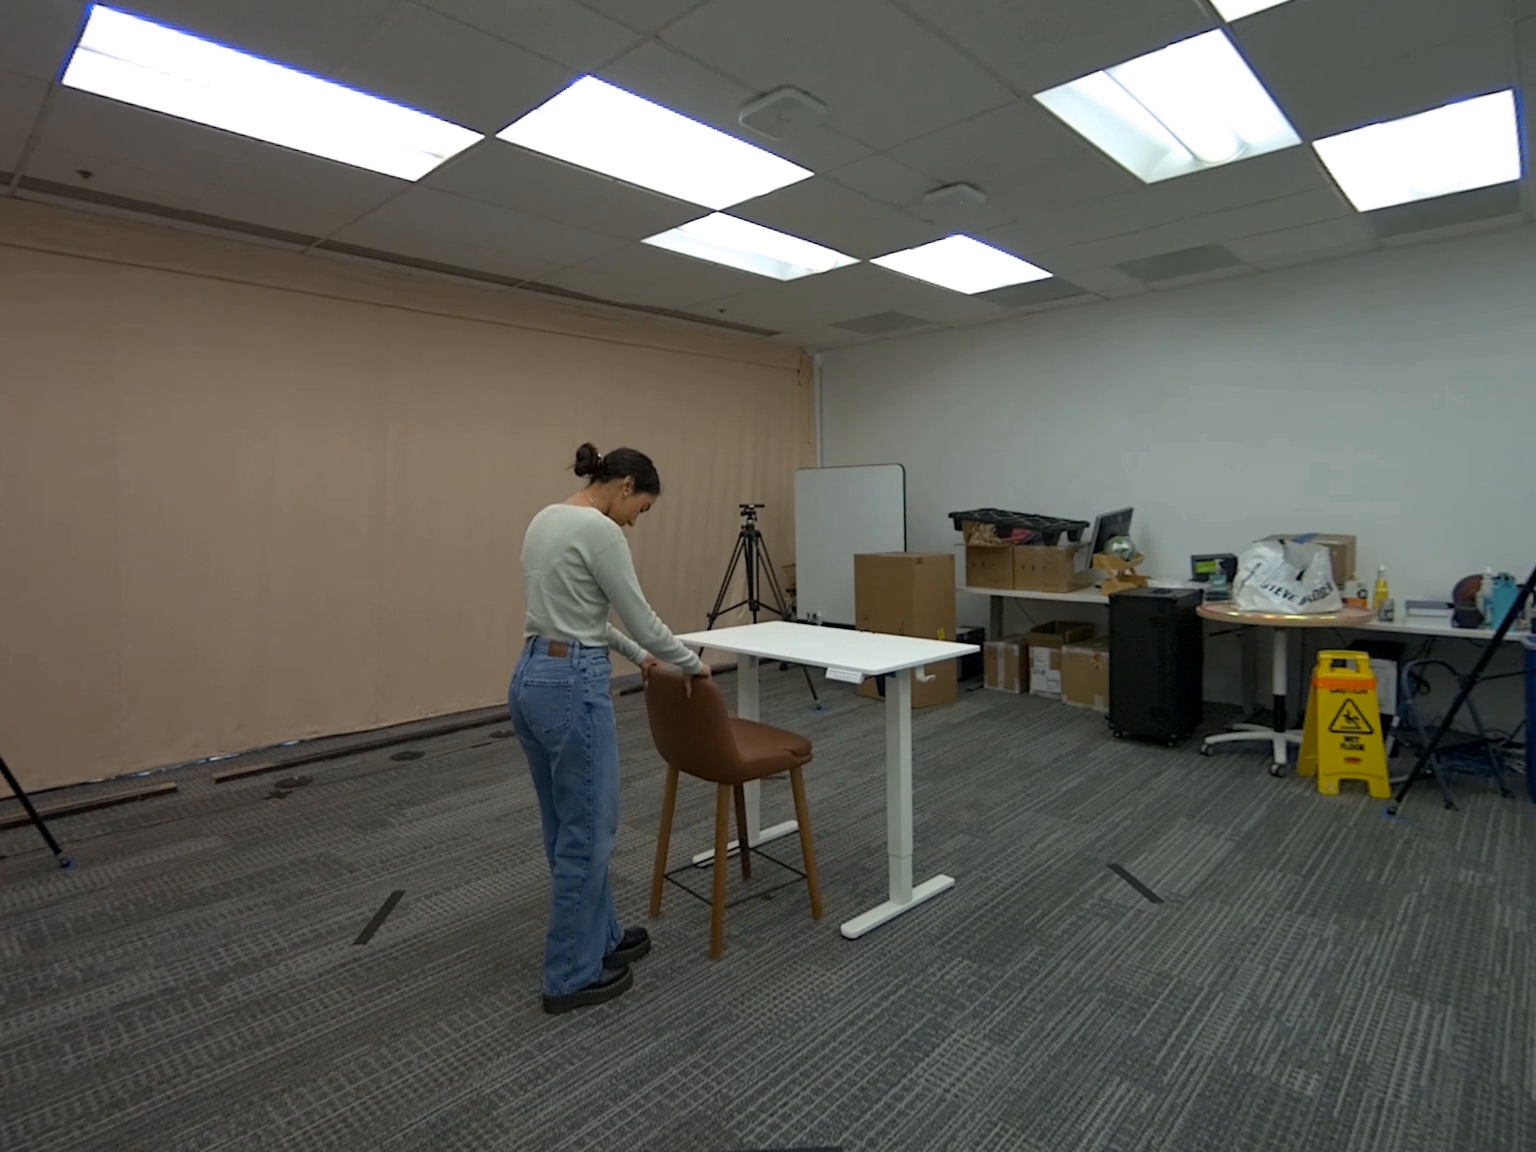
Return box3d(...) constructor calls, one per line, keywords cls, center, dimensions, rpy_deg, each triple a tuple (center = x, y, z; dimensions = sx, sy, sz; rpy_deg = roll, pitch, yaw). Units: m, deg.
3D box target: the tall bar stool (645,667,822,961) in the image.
box3d(cls="tall bar stool", center=(-0.131, 0.717, 2.821), dimensions=(0.454, 0.887, 0.471), rpy_deg=(-7, 6, -39))
